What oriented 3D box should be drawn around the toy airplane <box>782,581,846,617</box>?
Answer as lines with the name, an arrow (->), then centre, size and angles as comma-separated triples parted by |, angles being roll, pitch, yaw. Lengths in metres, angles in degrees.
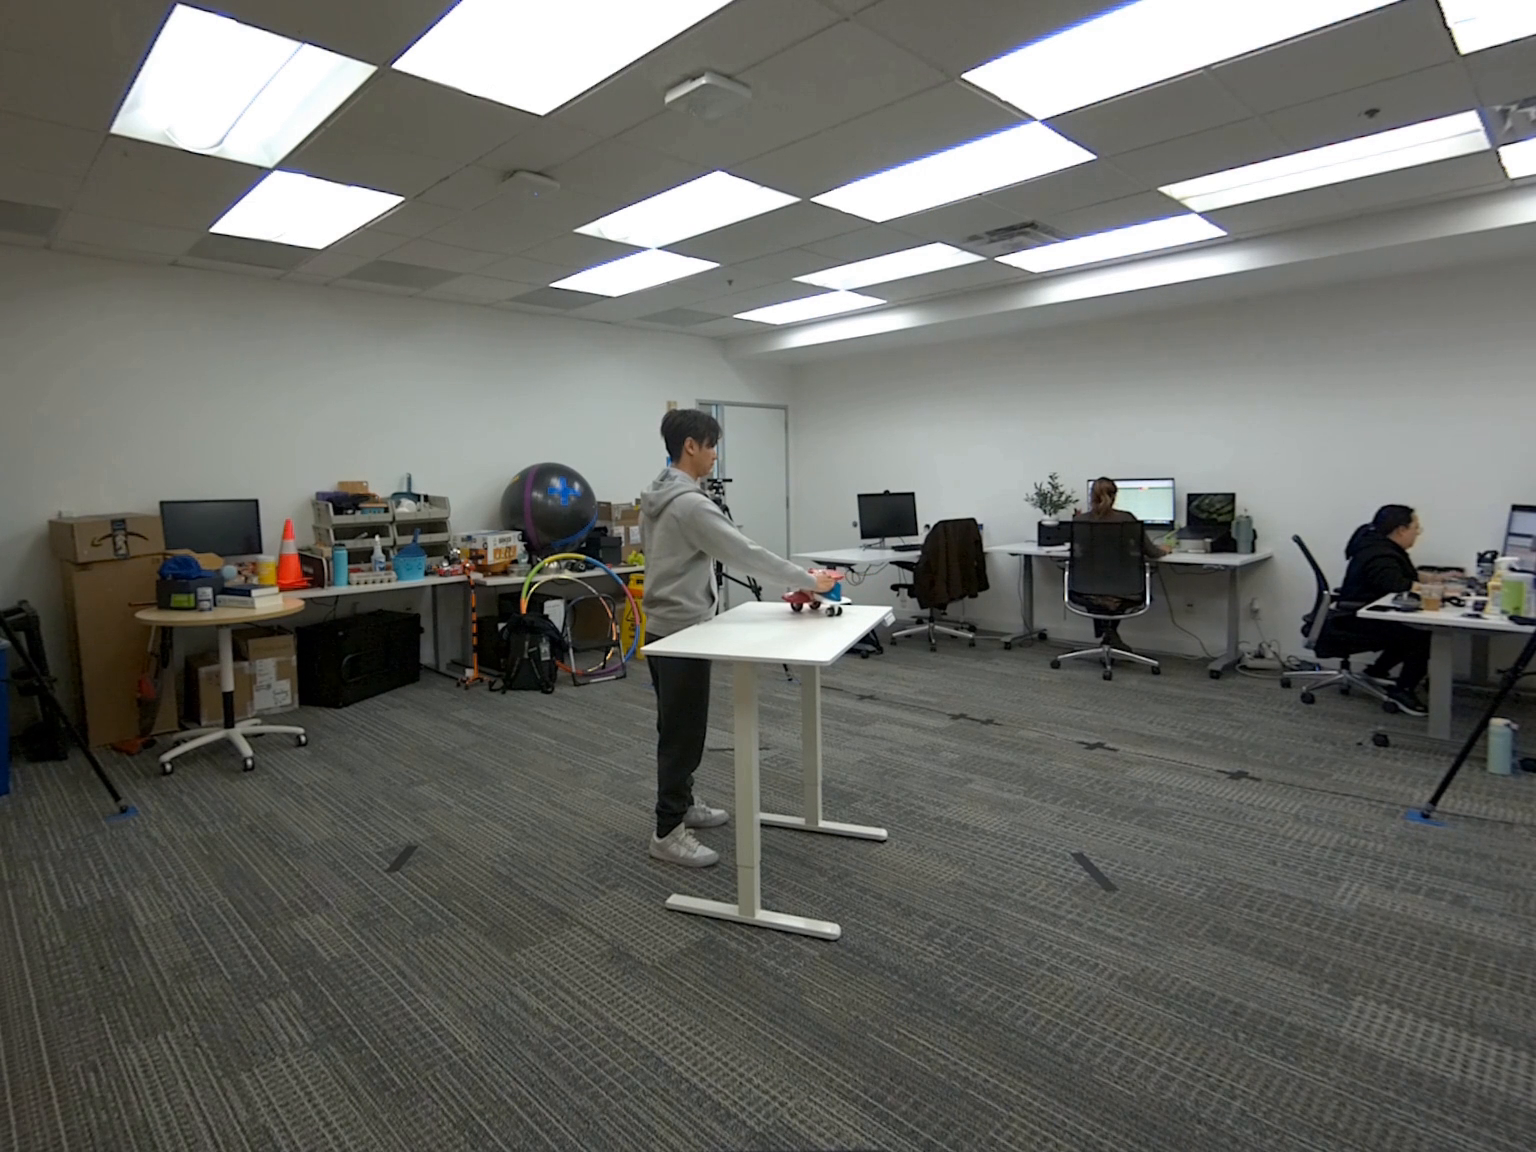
toy airplane -> 0.201, 0.062, 3.249 | 0.266, 0.156, 0.246 | 2, 7, 30
